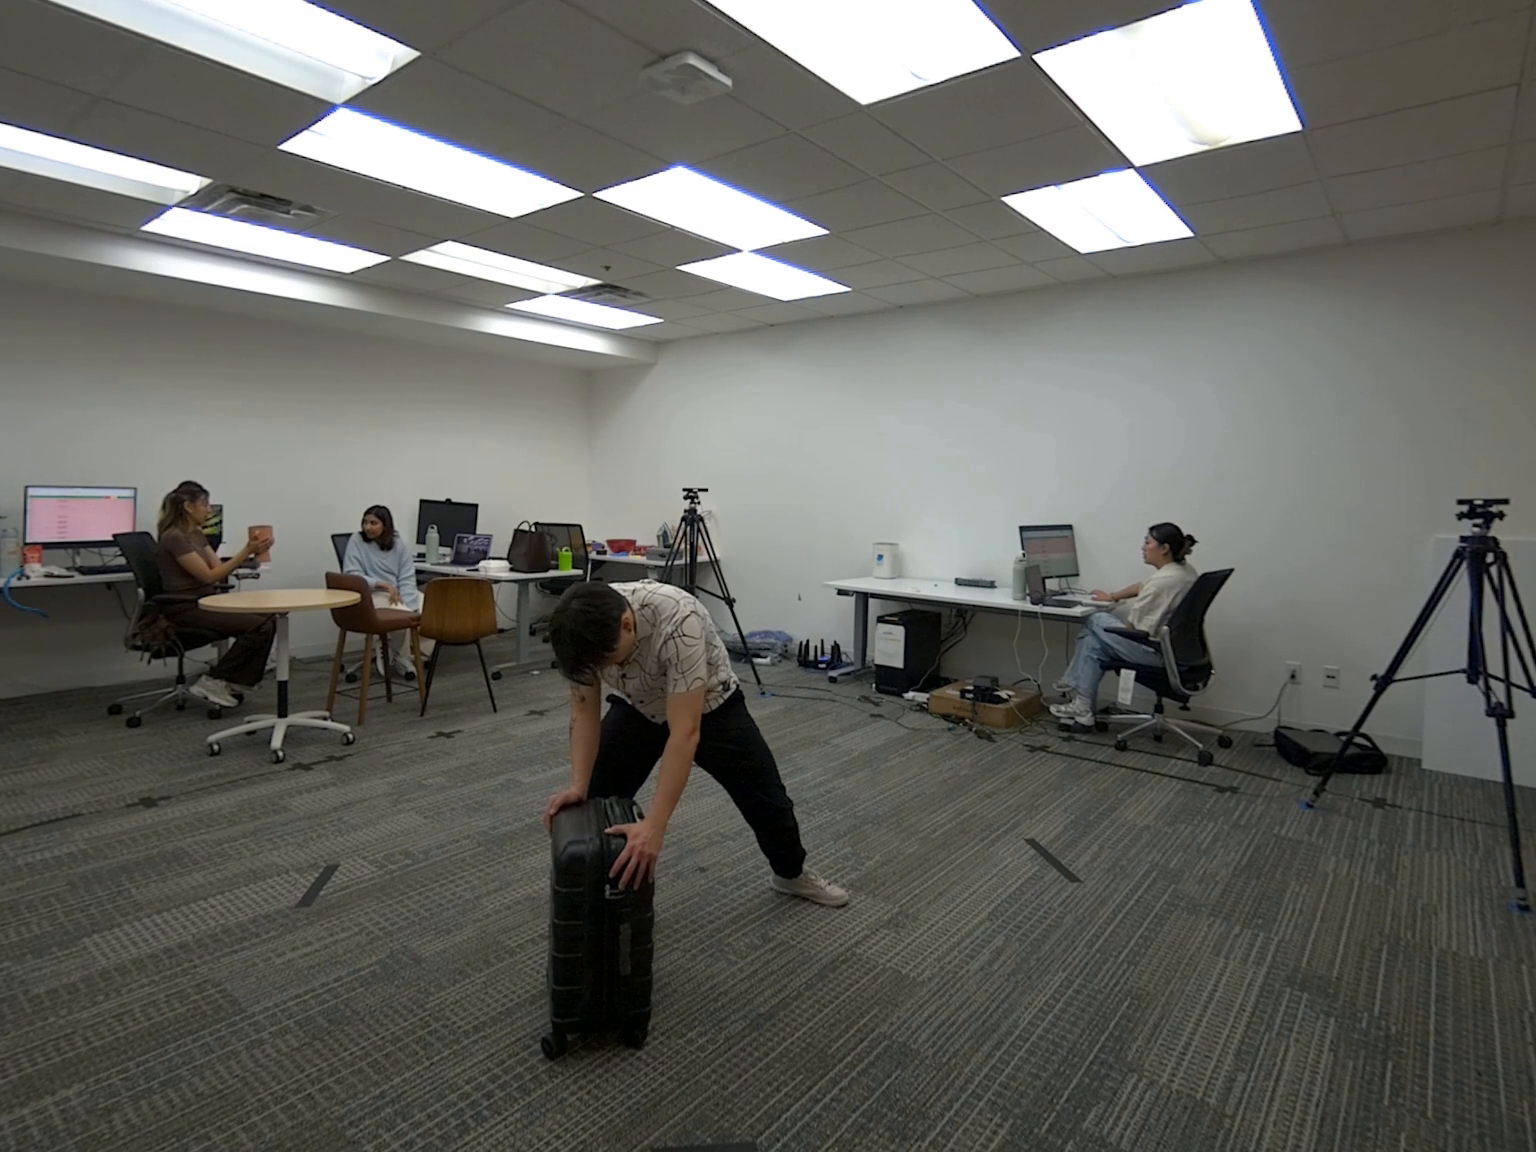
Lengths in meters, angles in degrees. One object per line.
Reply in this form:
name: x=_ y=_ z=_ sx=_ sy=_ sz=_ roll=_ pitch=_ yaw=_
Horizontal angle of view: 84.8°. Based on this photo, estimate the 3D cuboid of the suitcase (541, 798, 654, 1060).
suitcase: x=-0.450 y=0.882 z=2.211 sx=0.244 sy=0.547 sz=0.383 roll=0 pitch=5 yaw=-17
